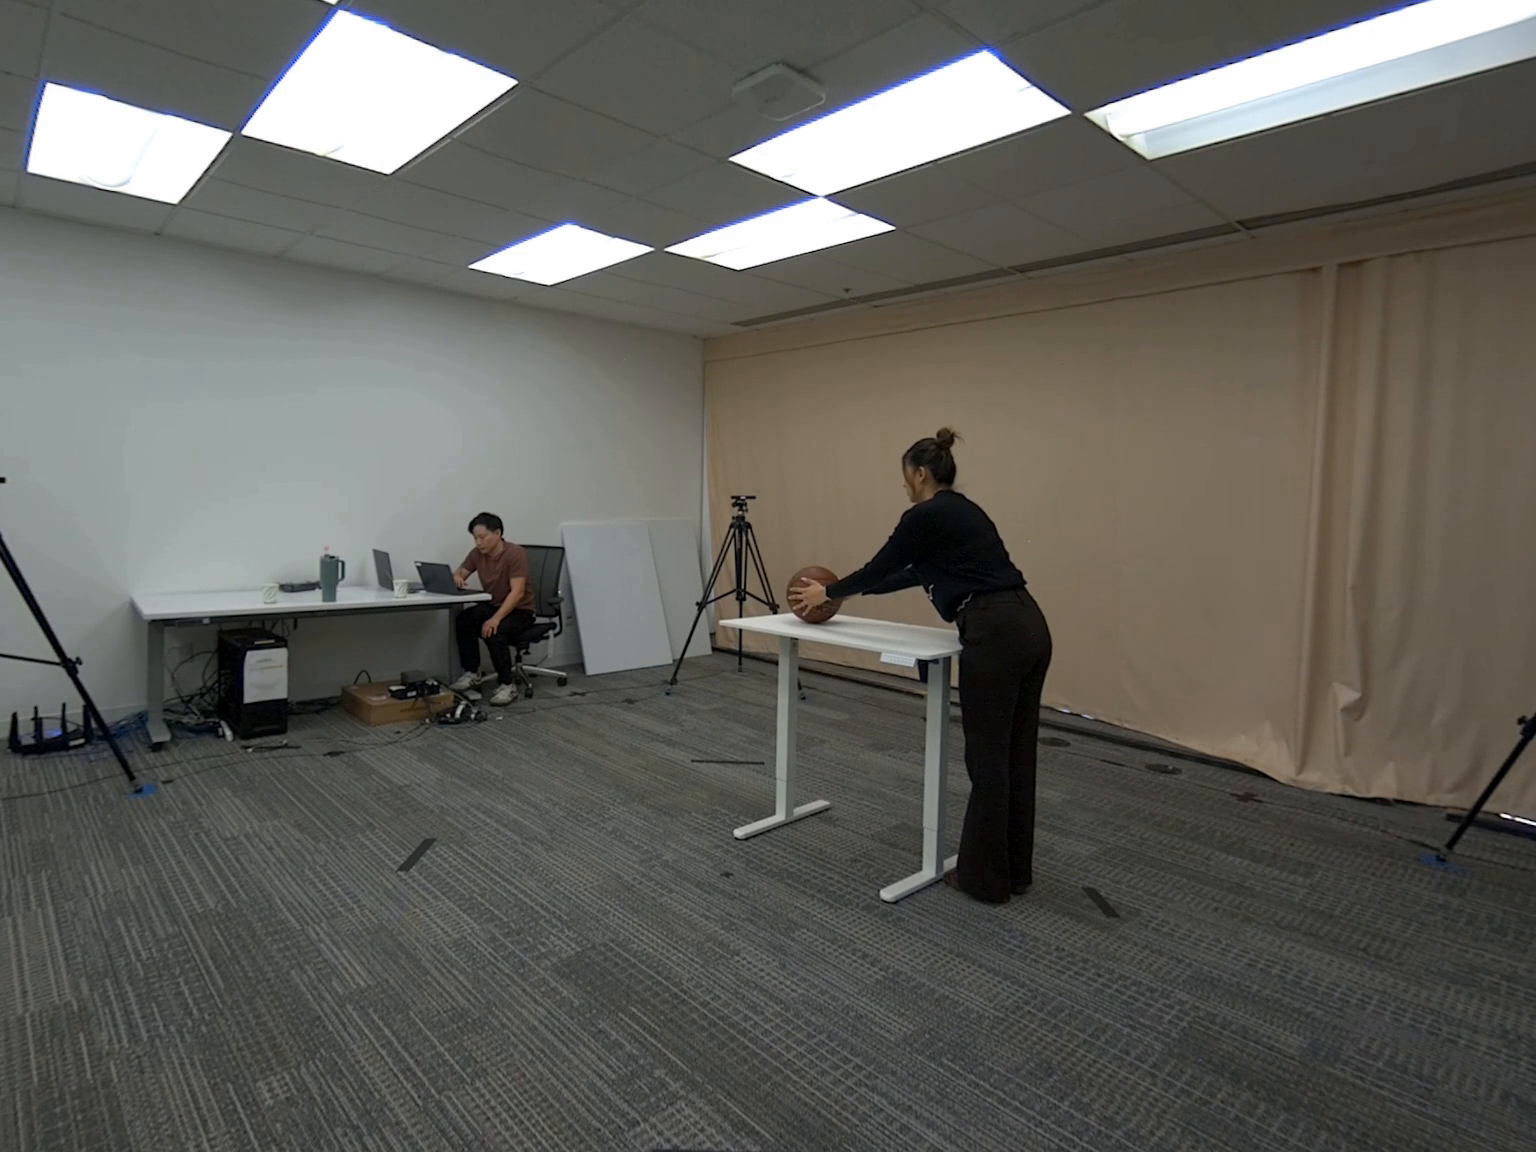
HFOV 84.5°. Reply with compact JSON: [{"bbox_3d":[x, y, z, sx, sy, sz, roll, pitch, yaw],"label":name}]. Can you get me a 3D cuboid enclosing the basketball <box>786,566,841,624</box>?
[{"bbox_3d":[0.191,0.074,3.496,0.236,0.235,0.237,1,4,-1],"label":"basketball"}]
